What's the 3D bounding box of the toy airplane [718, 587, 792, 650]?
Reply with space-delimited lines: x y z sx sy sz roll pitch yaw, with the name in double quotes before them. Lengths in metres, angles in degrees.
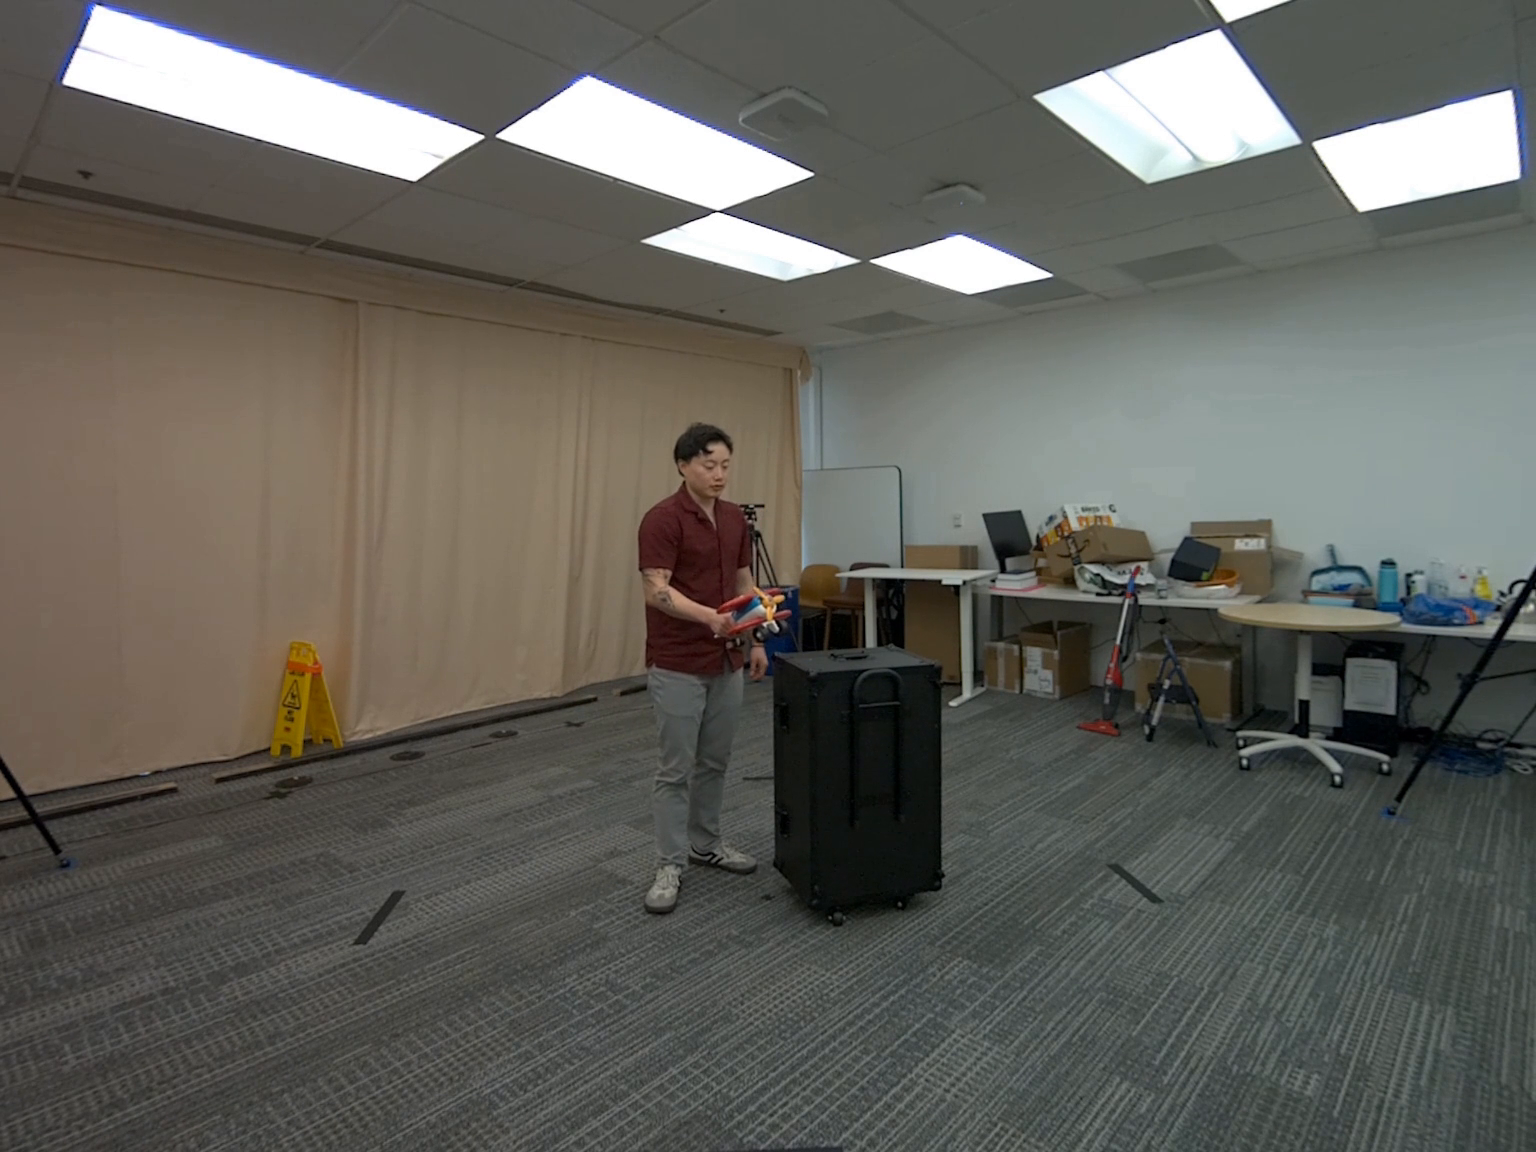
"toy airplane" -0.067 0.145 2.683 0.264 0.157 0.246 -15 -2 21
